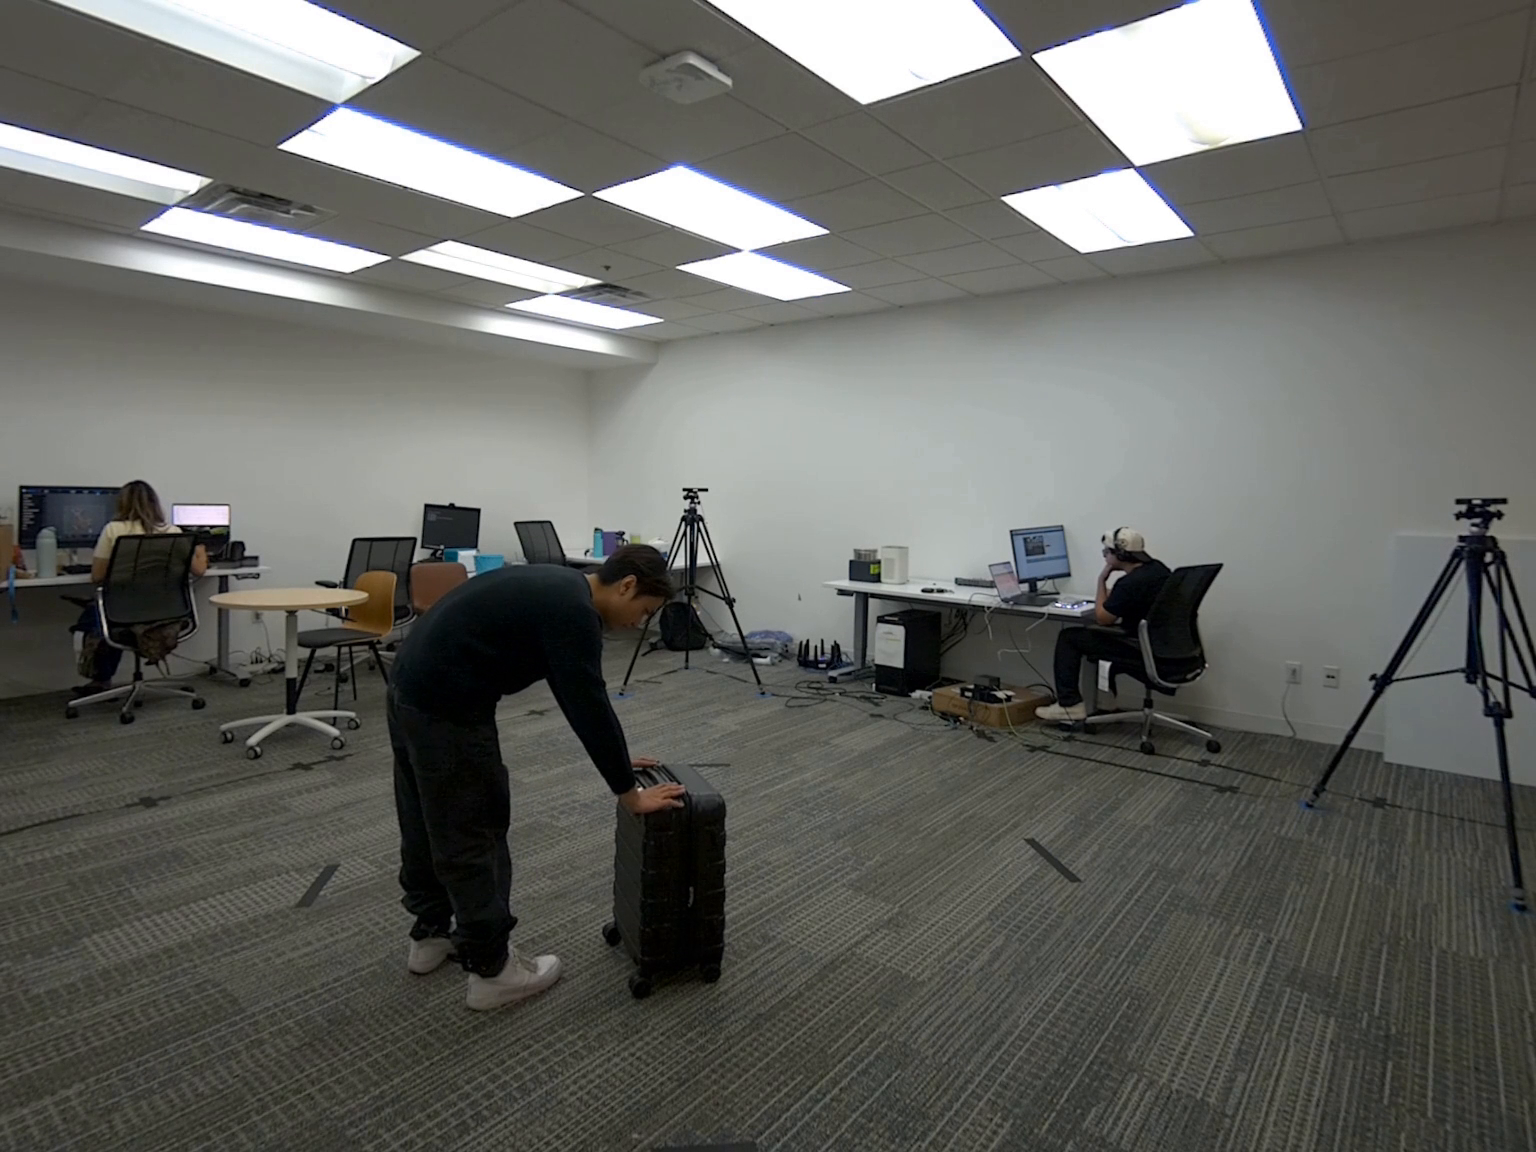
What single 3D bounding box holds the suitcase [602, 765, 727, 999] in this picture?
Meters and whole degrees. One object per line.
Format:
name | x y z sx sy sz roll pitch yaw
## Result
suitcase | -0.305 0.851 2.502 0.243 0.548 0.385 1 3 -24
